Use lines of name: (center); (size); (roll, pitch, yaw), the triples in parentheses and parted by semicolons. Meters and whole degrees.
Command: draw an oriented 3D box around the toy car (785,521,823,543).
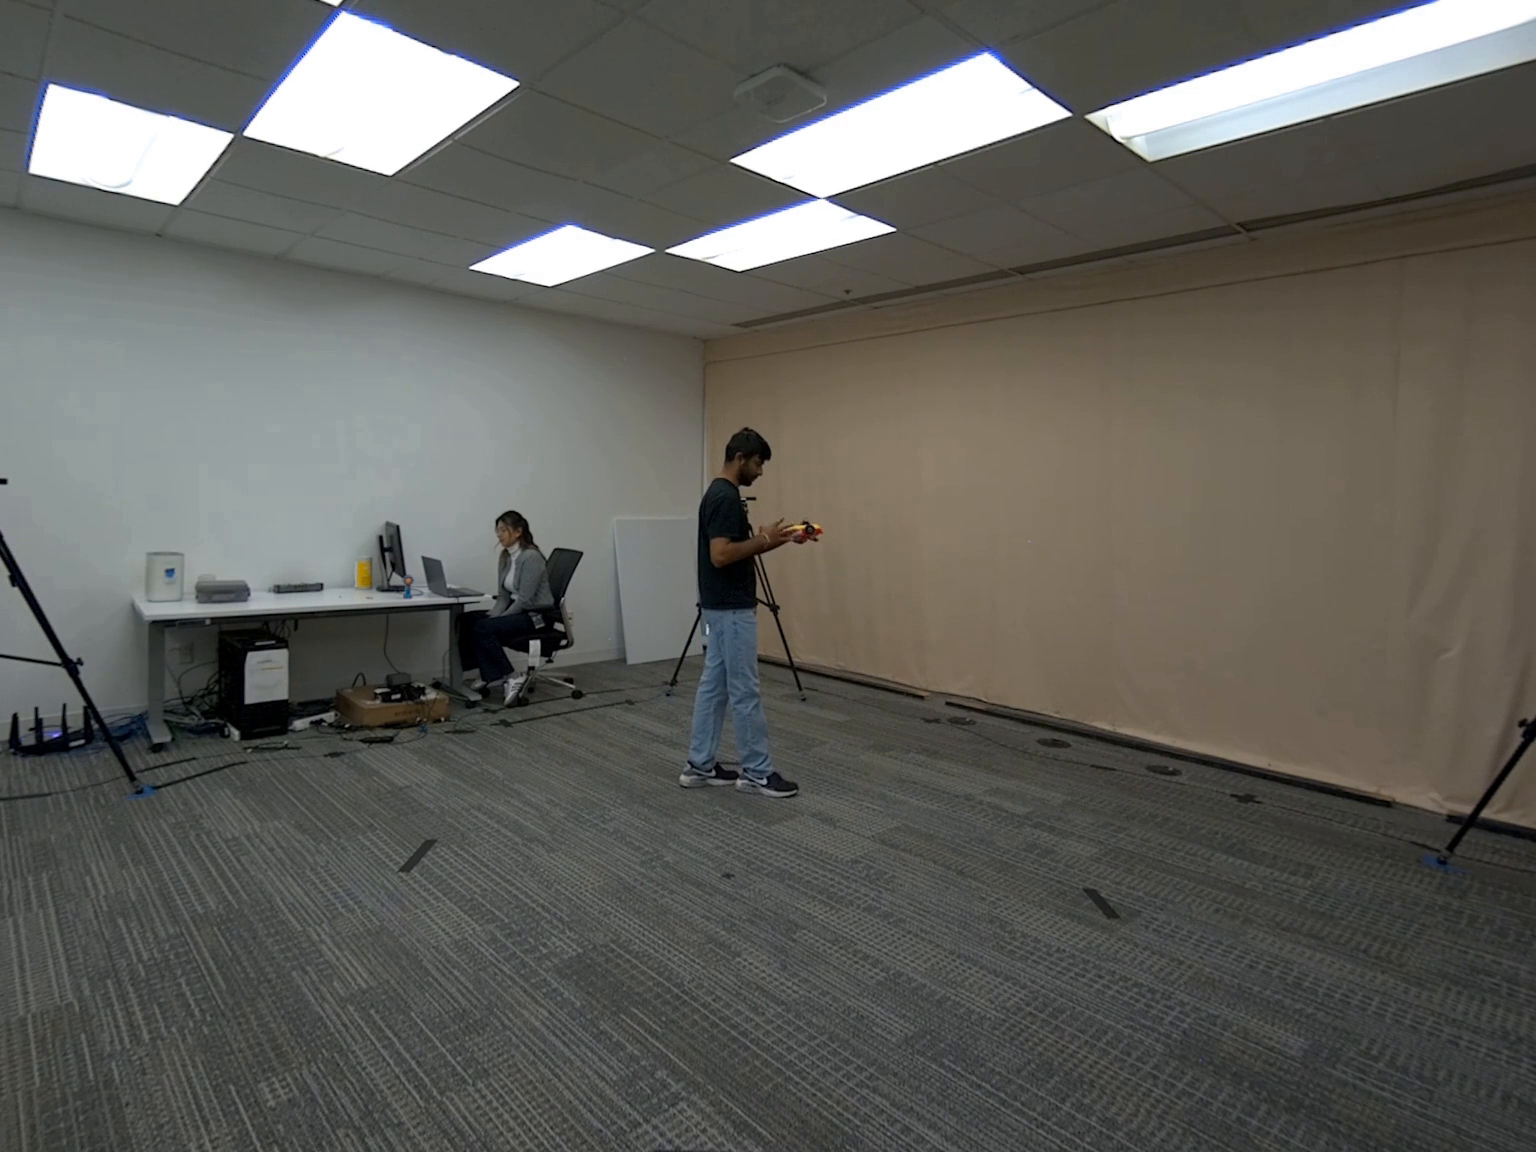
toy car: (0.129, -0.221, 4.070); (0.253, 0.082, 0.132); (1, 11, -7)
